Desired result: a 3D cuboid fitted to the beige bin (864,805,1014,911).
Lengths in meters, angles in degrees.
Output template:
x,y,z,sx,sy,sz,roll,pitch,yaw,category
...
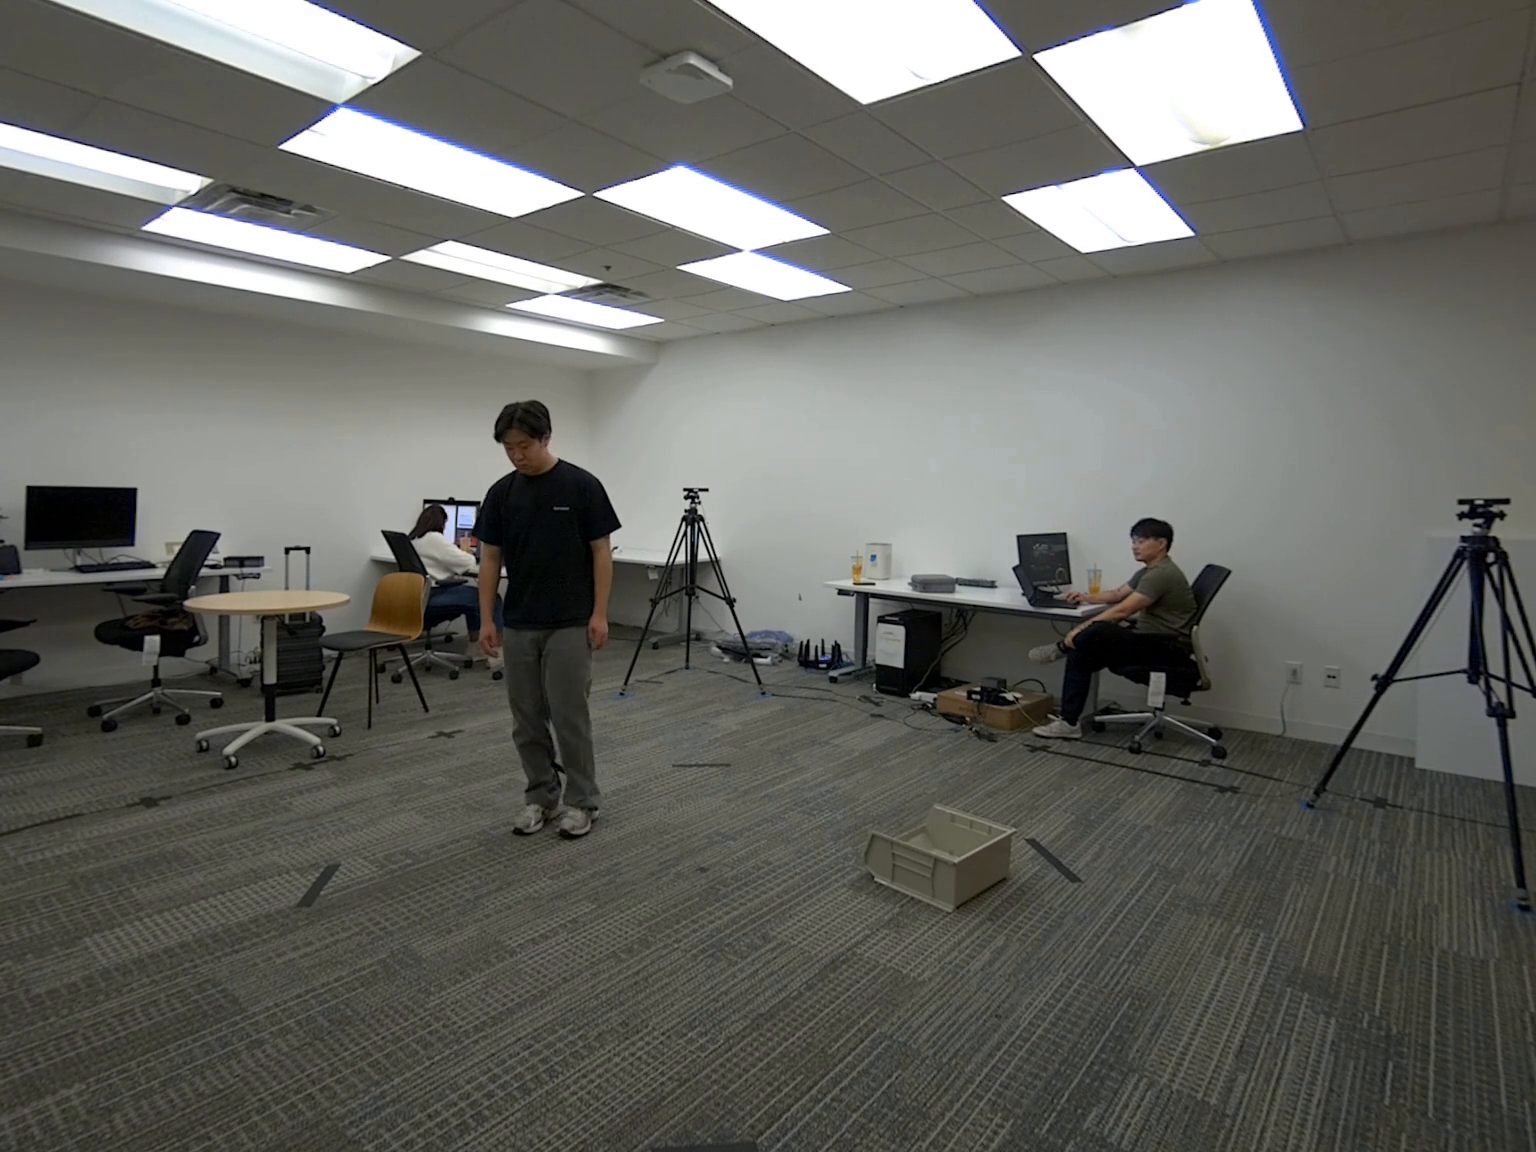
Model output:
x,y,z,sx,sy,sz,roll,pitch,yaw,category
0.614,1.001,3.088,0.391,0.188,0.409,8,8,44,beige bin
